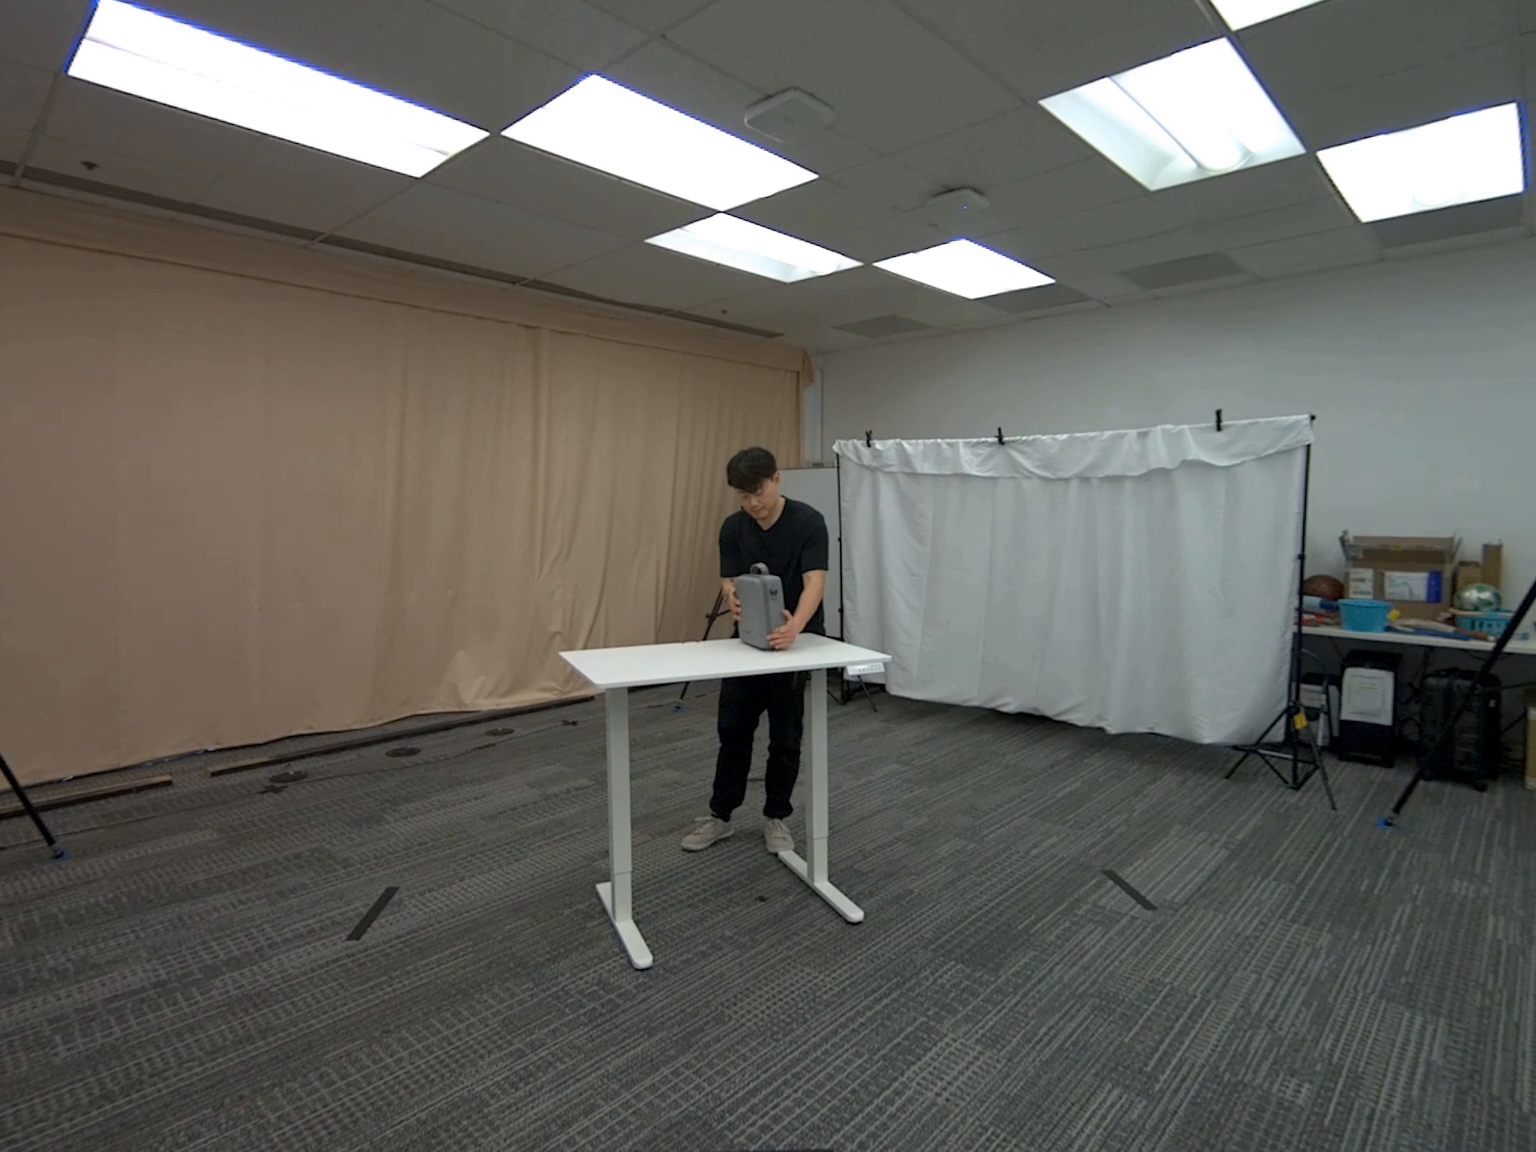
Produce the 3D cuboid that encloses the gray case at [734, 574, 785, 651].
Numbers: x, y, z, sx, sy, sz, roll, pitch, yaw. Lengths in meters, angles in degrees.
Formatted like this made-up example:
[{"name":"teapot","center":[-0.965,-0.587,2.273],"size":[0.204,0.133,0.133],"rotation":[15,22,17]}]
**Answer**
[{"name":"gray case","center":[-0.023,0.120,3.047],"size":[0.103,0.260,0.261],"rotation":[-2,2,-14]}]
